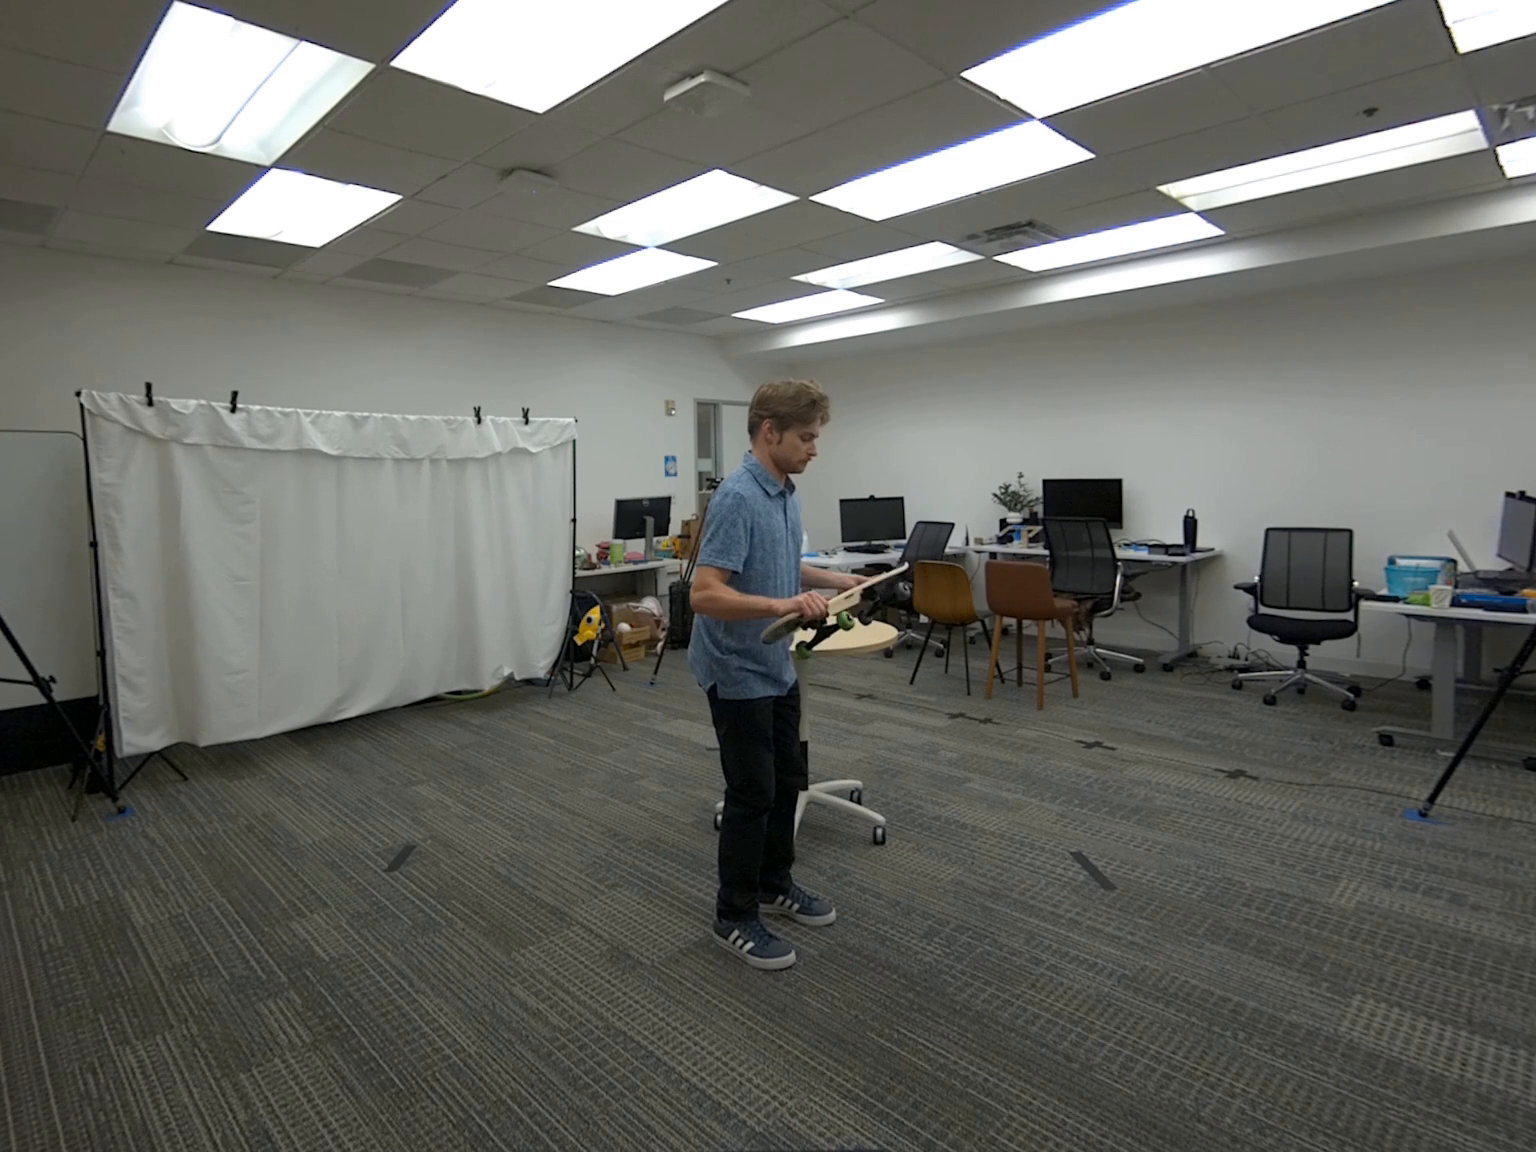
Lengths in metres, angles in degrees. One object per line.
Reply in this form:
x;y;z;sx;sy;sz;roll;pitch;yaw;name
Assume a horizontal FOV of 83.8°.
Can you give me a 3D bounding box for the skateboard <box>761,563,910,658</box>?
0.215;0.106;2.424;0.194;0.112;0.771;-40;-10;29;skateboard
